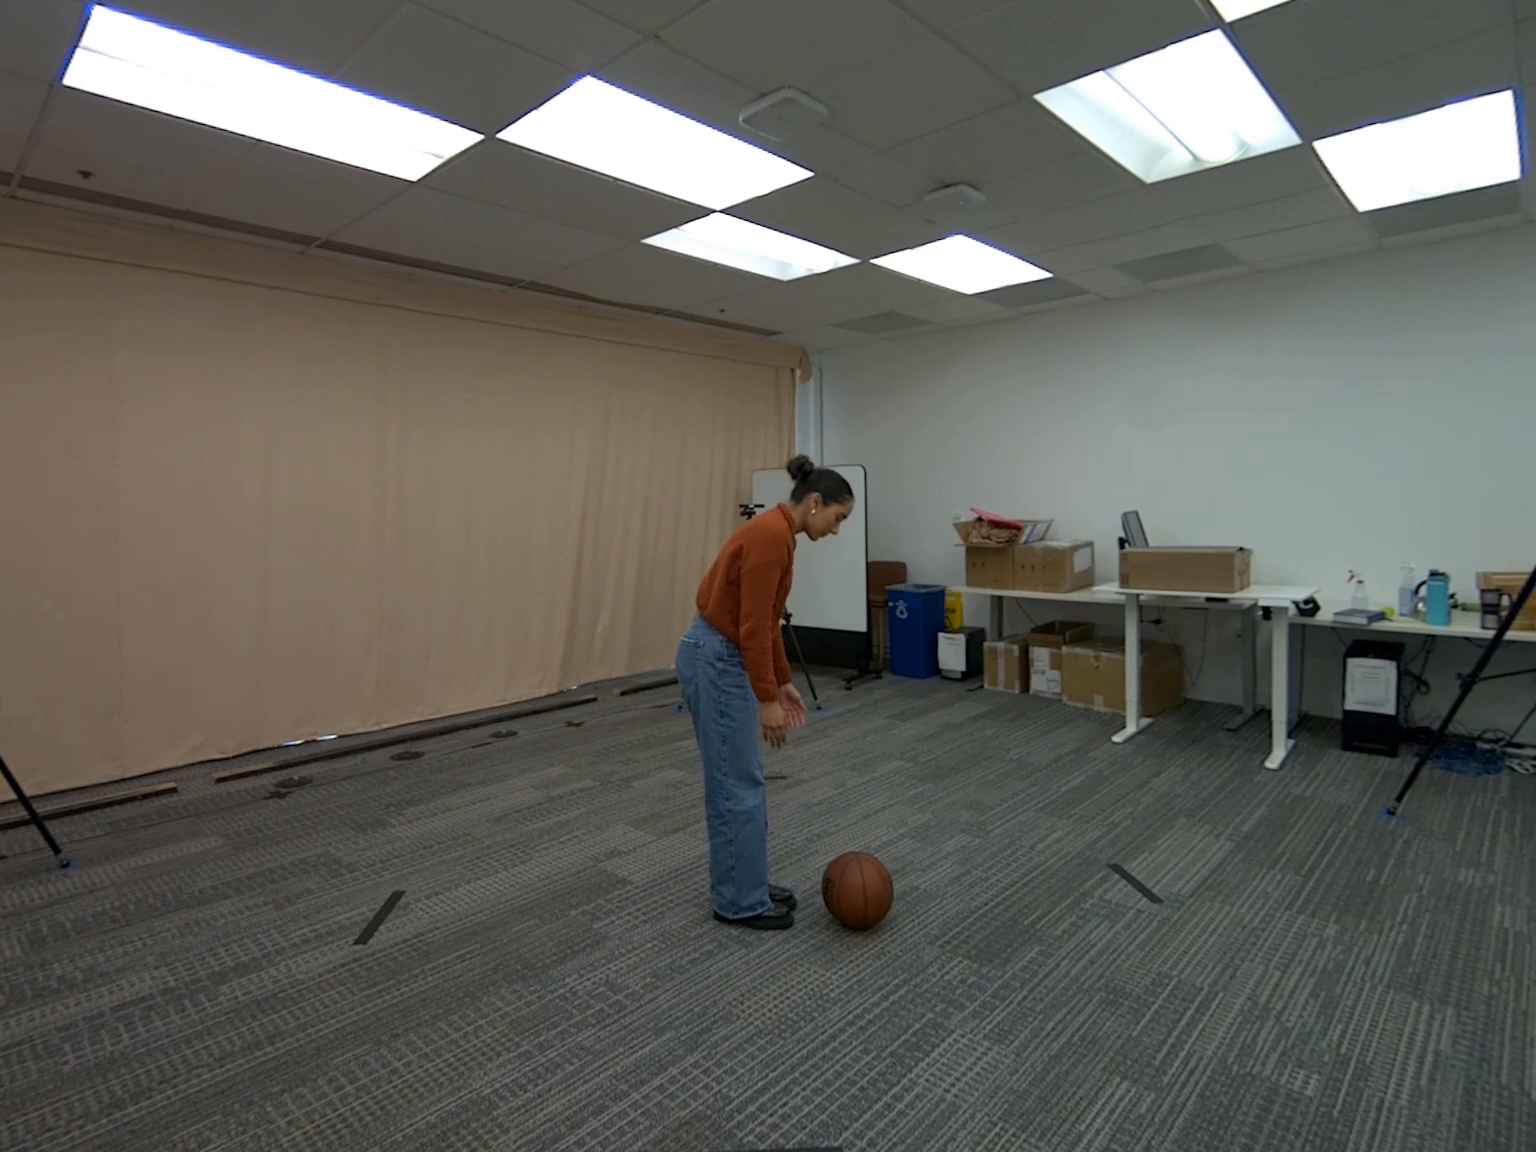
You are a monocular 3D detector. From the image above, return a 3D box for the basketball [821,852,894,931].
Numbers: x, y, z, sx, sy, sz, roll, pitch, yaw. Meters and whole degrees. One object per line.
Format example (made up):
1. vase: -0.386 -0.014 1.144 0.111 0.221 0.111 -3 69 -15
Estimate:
1. basketball: 0.299 1.033 2.772 0.236 0.235 0.237 -1 4 -2
